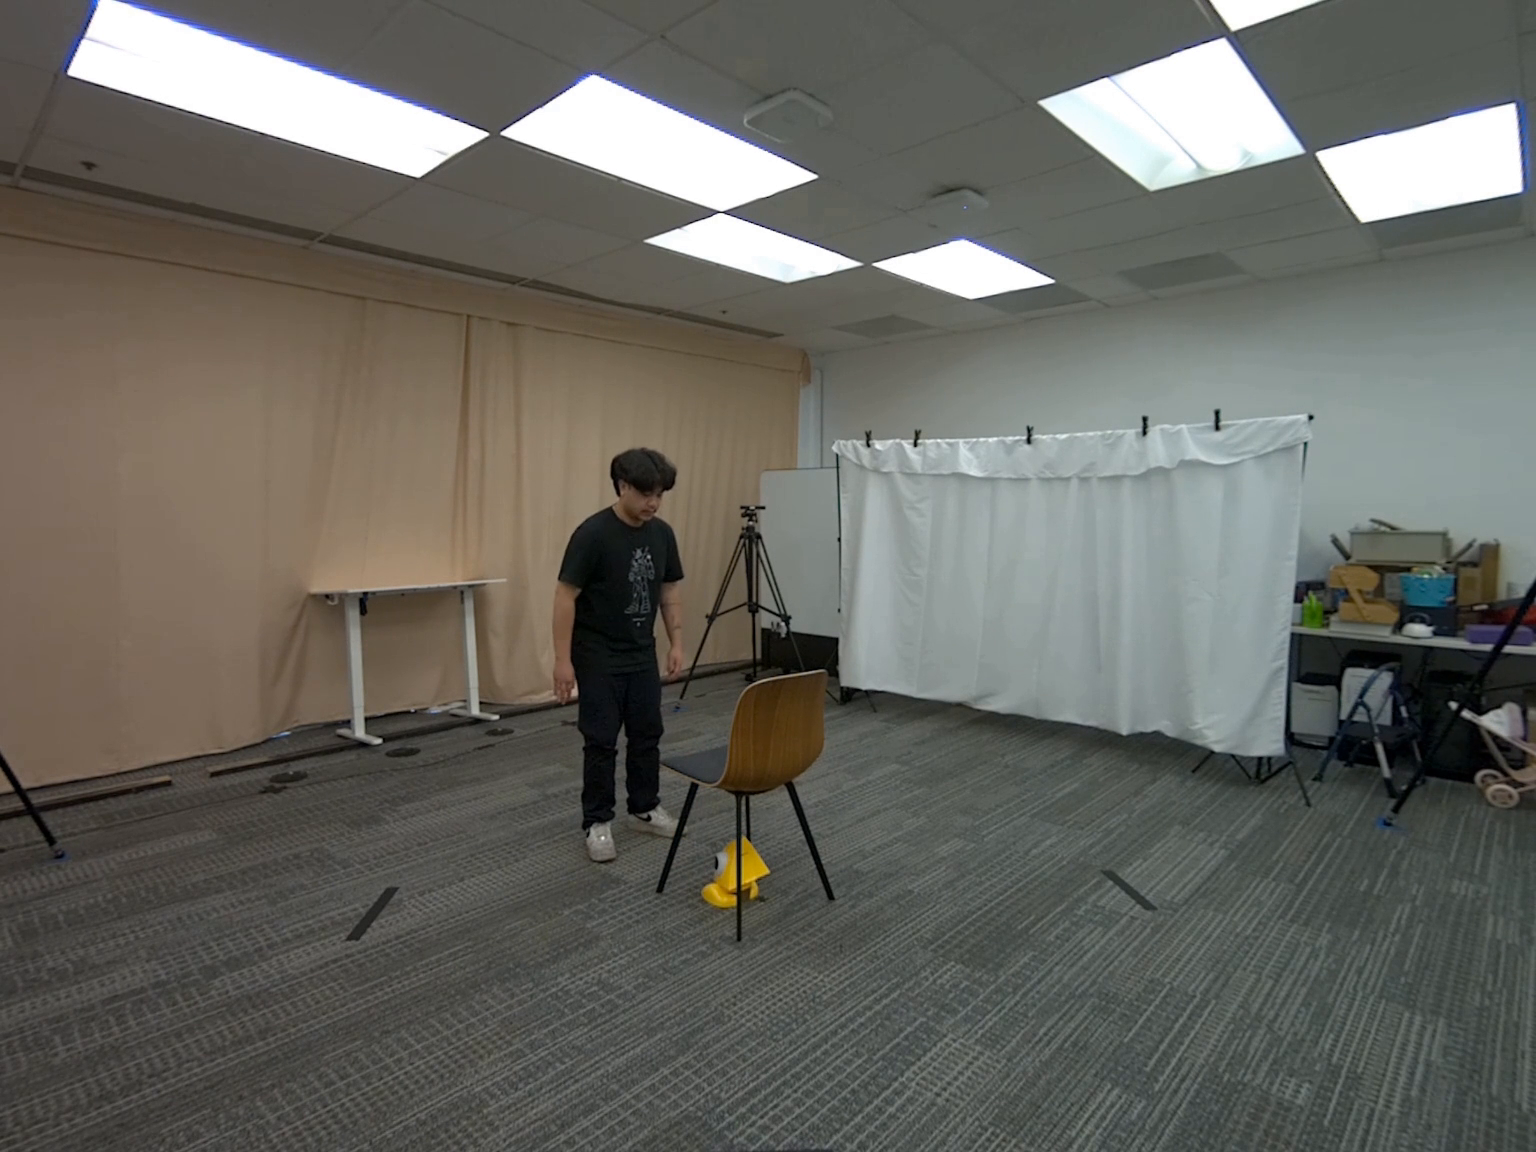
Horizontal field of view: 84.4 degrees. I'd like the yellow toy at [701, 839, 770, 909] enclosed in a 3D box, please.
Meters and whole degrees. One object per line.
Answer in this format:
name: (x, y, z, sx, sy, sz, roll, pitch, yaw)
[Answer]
yellow toy: (-0.128, 1.032, 3.009, 0.199, 0.230, 0.198, 2, 4, 45)
